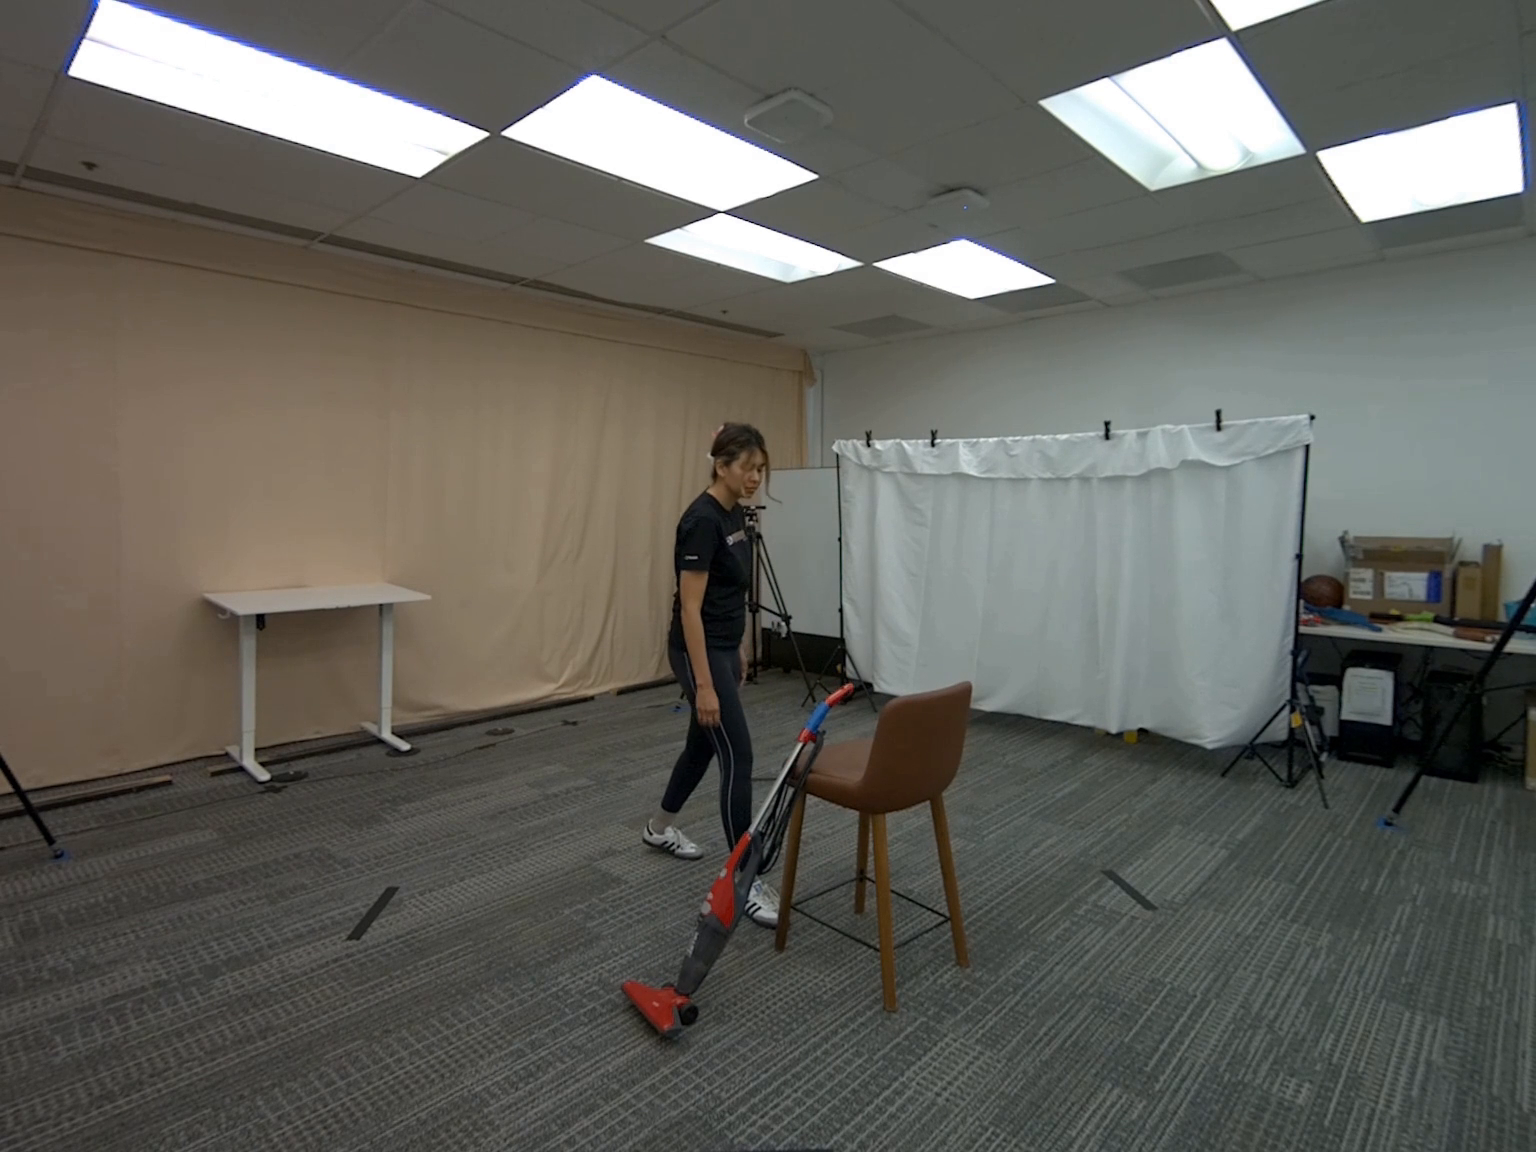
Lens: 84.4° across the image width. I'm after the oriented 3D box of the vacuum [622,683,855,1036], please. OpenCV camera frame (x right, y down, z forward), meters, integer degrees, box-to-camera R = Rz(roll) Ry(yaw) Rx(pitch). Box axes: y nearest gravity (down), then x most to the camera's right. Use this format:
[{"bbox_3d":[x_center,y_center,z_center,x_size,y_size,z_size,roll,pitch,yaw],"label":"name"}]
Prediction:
[{"bbox_3d":[-0.022,0.769,2.434,0.261,1.048,0.139,11,-27,49],"label":"vacuum"}]
